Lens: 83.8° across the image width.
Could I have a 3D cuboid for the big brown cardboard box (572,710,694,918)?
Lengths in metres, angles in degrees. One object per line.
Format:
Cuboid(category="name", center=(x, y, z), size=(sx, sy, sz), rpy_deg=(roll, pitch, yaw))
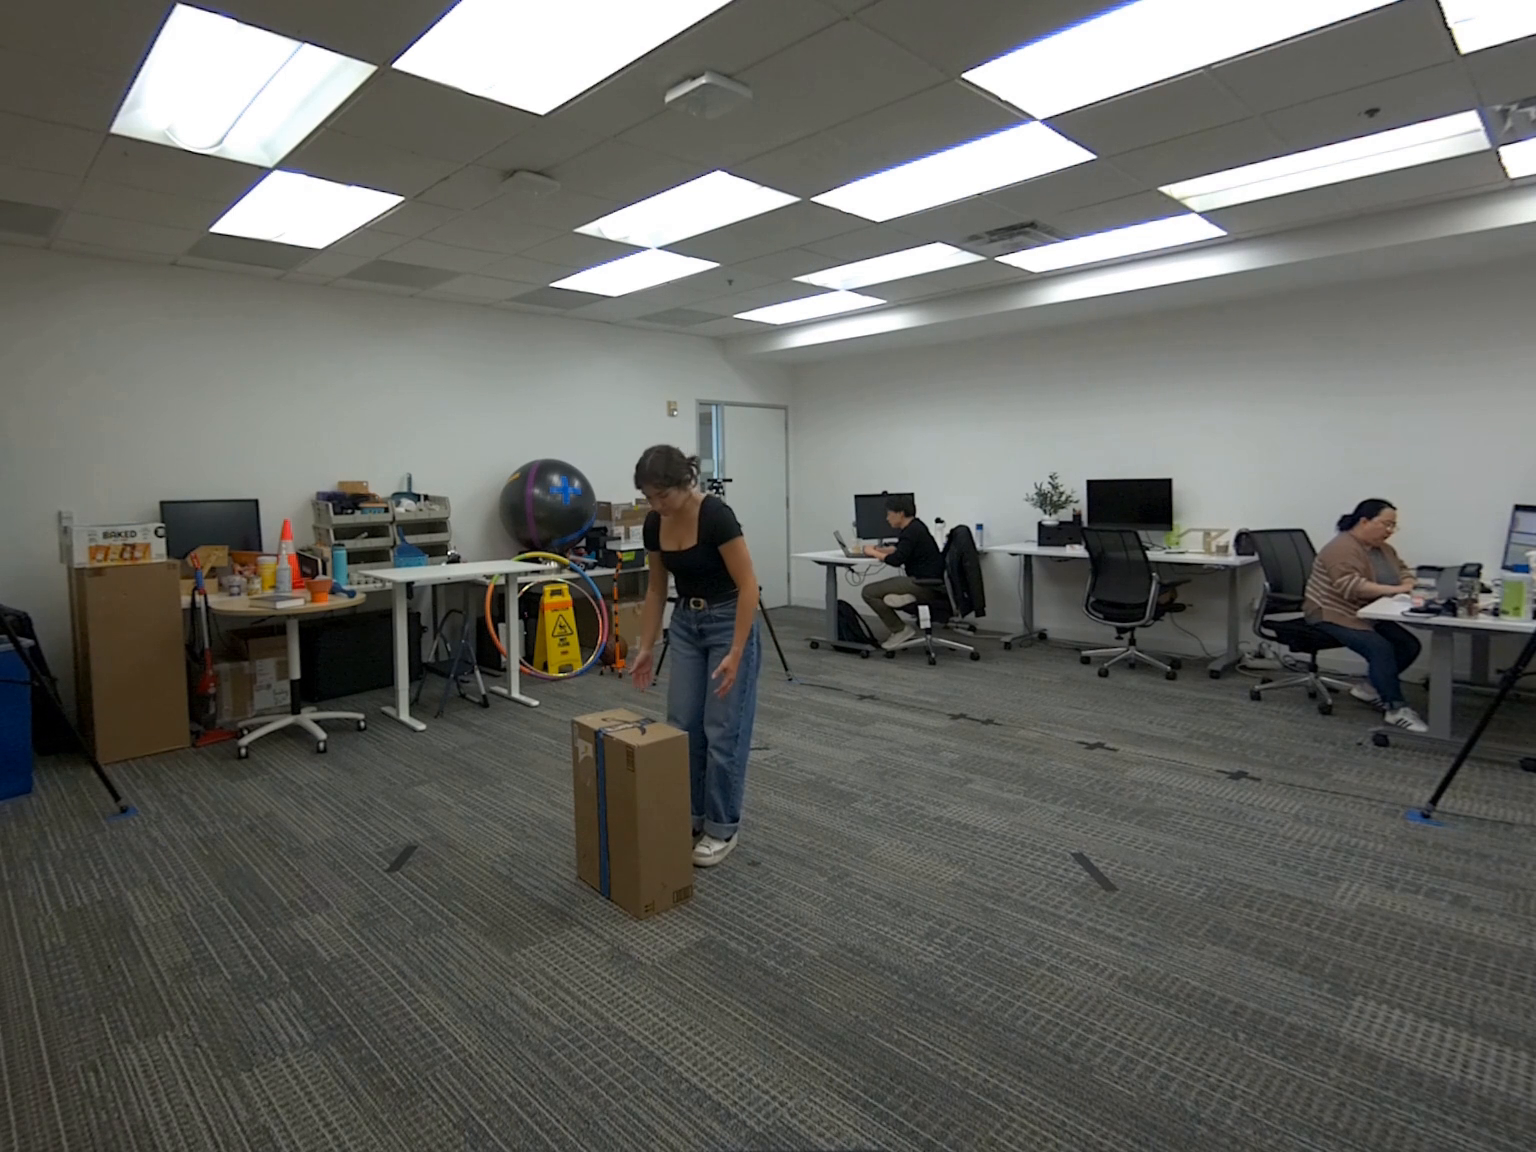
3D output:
Cuboid(category="big brown cardboard box", center=(-0.470, 0.782, 2.923), size=(0.227, 0.587, 0.430), rpy_deg=(-5, 5, -40))
